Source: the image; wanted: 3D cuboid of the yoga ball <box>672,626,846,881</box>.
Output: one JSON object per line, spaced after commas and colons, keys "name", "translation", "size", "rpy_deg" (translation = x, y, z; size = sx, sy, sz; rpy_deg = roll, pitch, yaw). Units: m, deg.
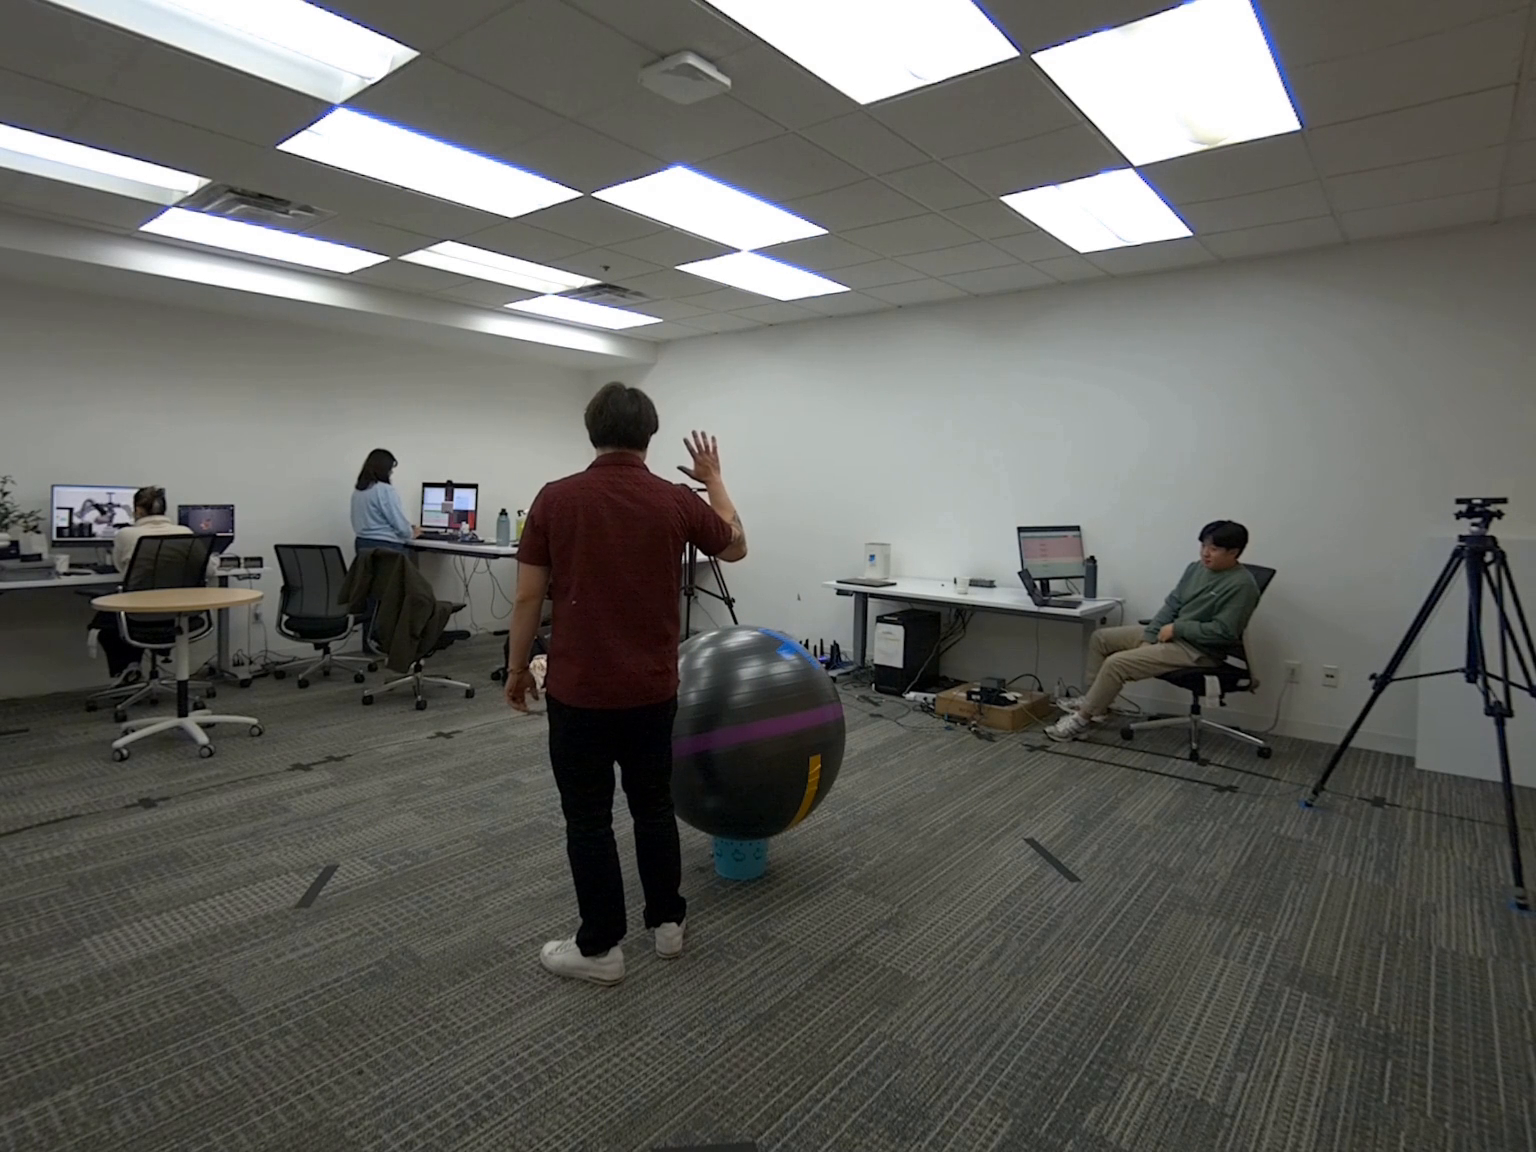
{"name": "yoga ball", "translation": [-0.106, 0.564, 3.116], "size": [0.757, 0.755, 0.762], "rpy_deg": [1, 4, -2]}
